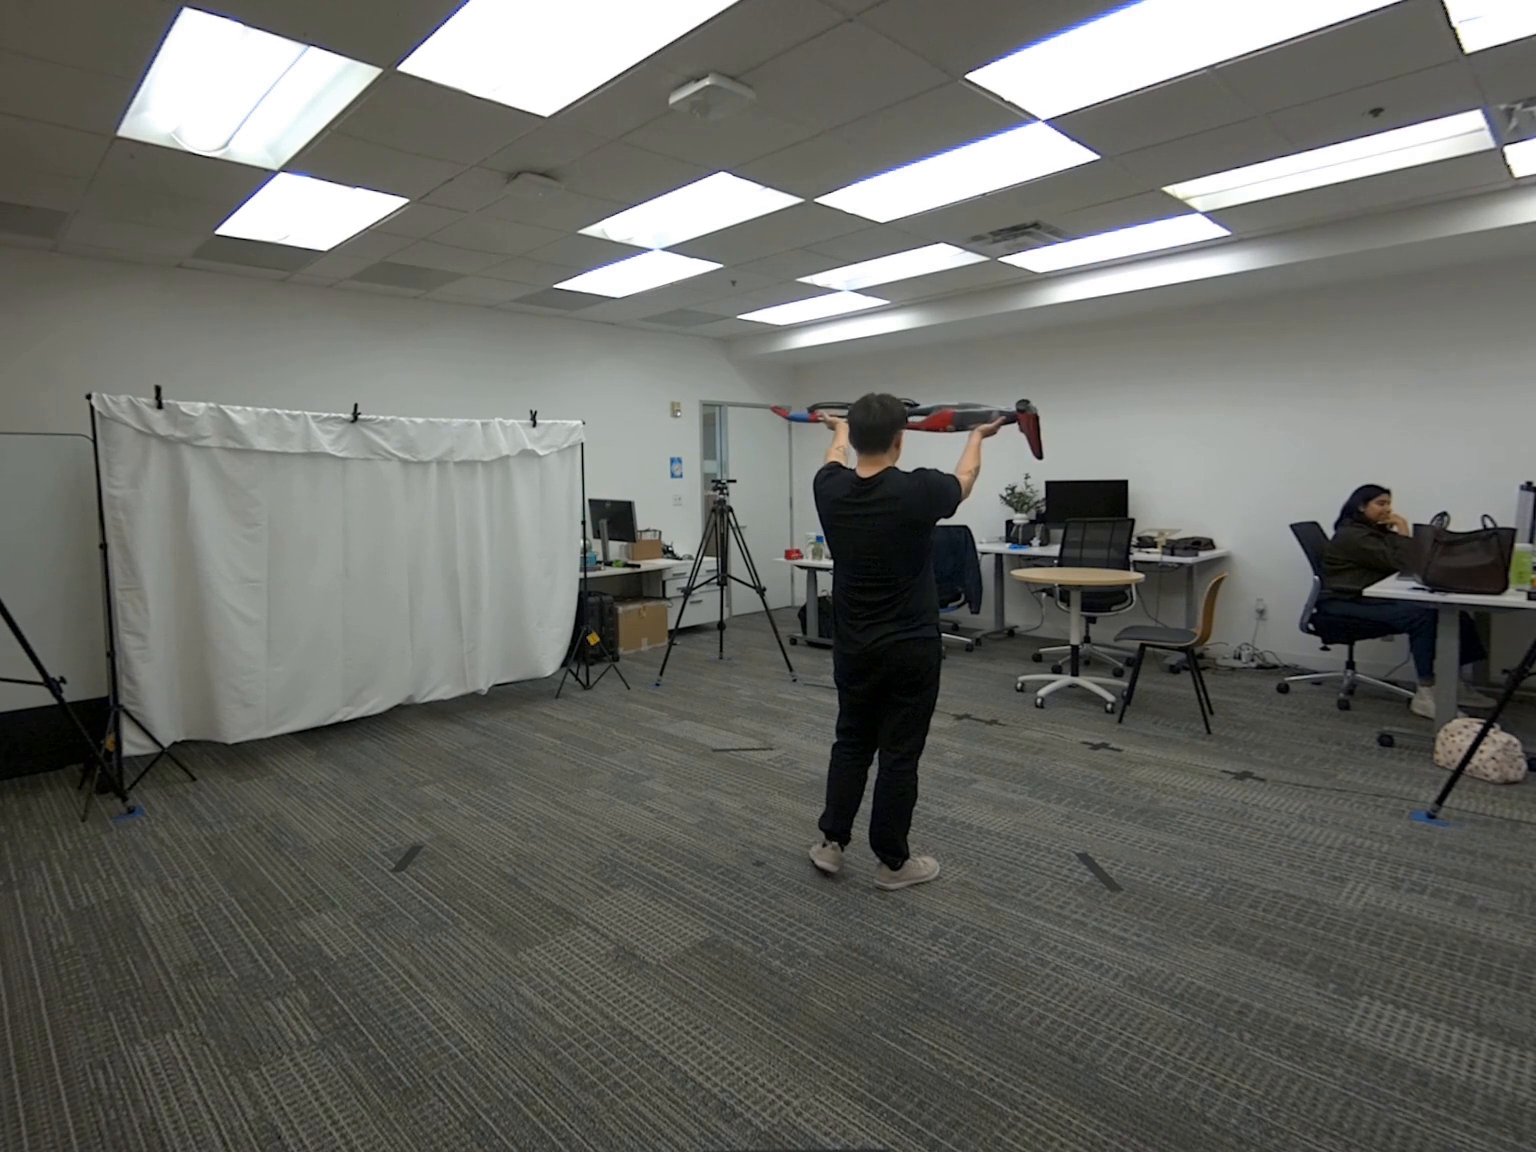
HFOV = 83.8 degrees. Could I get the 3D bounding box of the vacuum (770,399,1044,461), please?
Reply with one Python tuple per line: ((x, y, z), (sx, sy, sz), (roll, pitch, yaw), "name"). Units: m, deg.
((0.487, -0.623, 3.304), (1.080, 0.145, 0.243), (11, -25, 29), "vacuum")
